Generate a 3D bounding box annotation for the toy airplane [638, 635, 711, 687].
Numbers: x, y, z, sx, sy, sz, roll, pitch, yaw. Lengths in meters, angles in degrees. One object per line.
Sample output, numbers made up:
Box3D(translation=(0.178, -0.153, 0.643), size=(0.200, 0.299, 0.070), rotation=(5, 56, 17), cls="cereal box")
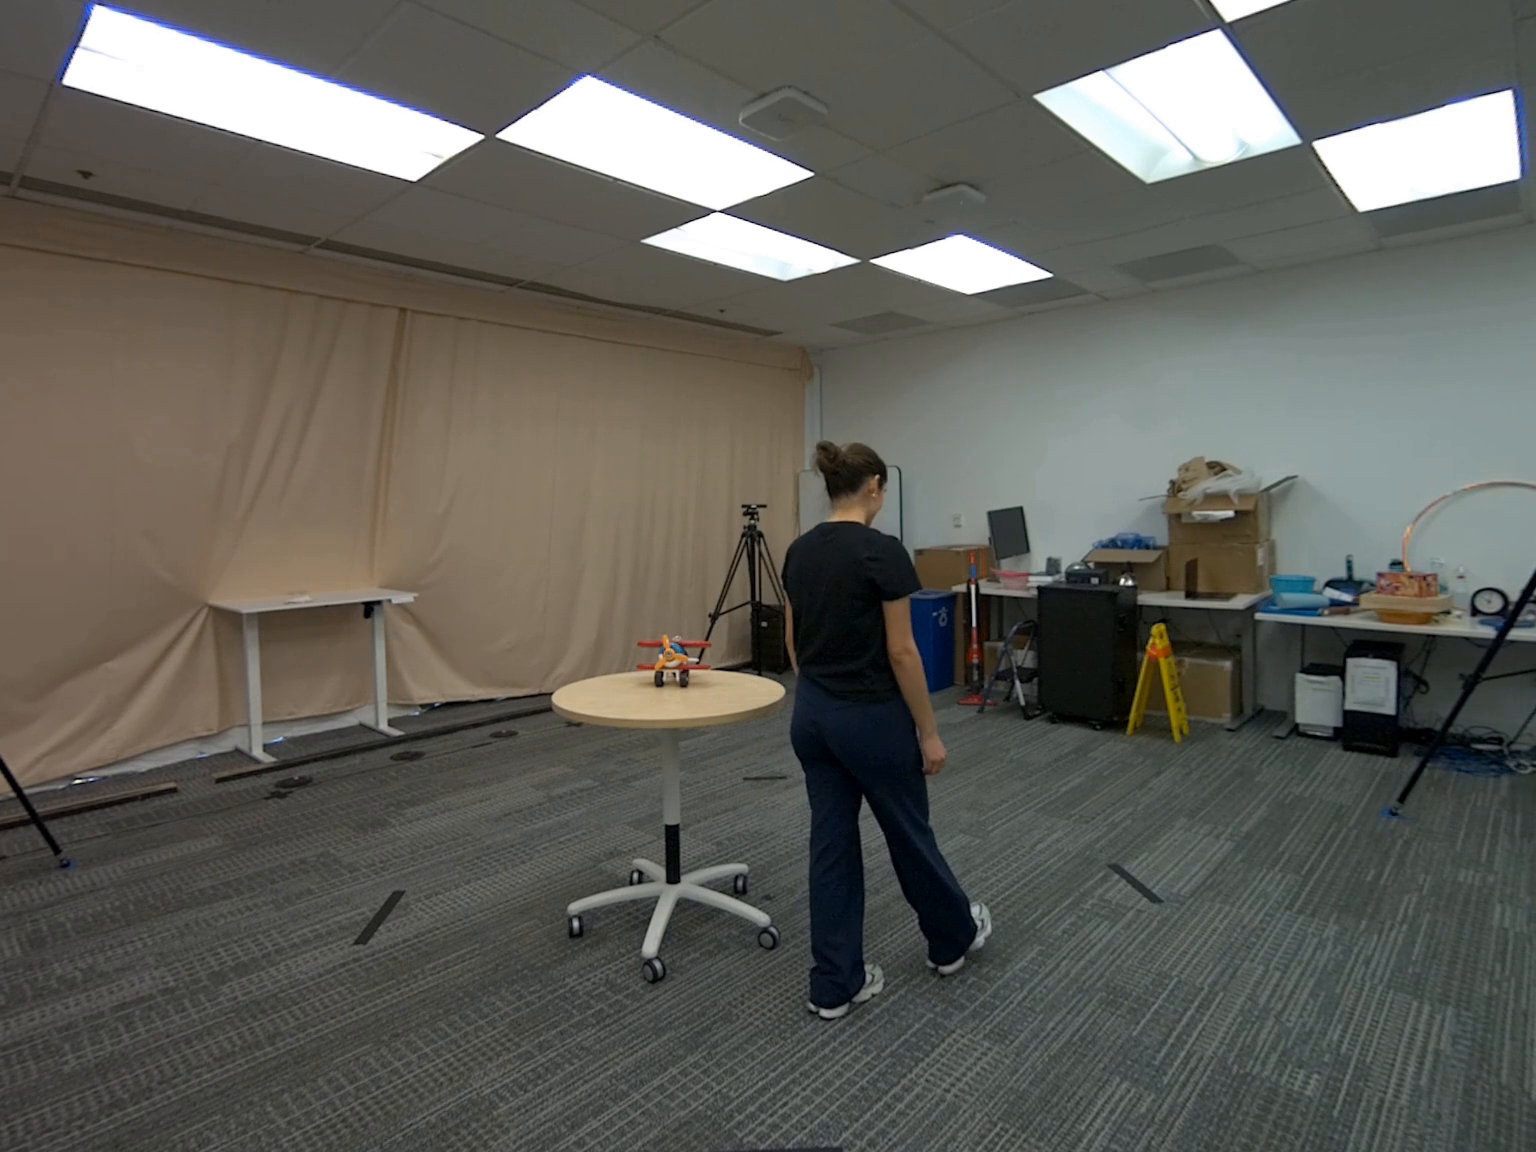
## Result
Box3D(translation=(-0.328, 0.292, 2.935), size=(0.245, 0.156, 0.266), rotation=(-1, 4, -24), cls="toy airplane")
